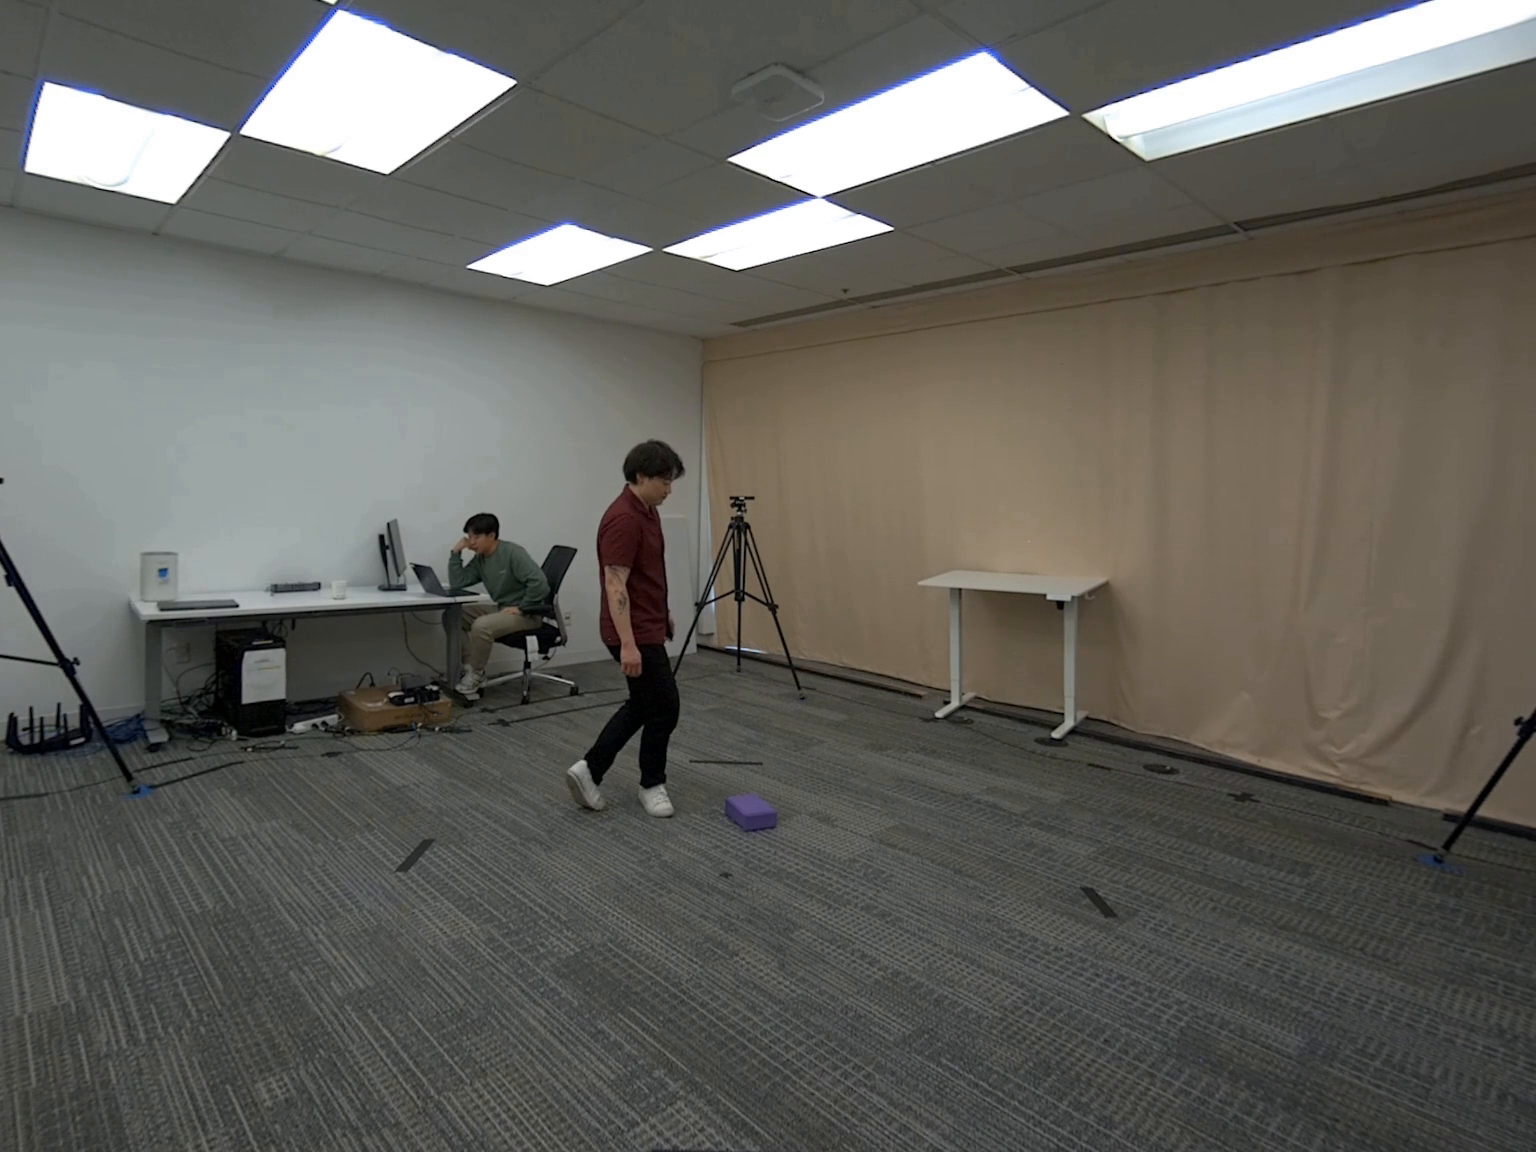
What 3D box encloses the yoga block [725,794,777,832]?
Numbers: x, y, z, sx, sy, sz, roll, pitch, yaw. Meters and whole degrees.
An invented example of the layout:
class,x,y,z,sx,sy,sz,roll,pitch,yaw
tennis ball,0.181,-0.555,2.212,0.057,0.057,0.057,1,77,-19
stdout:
class,x,y,z,sx,sy,sz,roll,pitch,yaw
yoga block,-0.087,1.017,3.639,0.146,0.076,0.234,-1,6,-25
